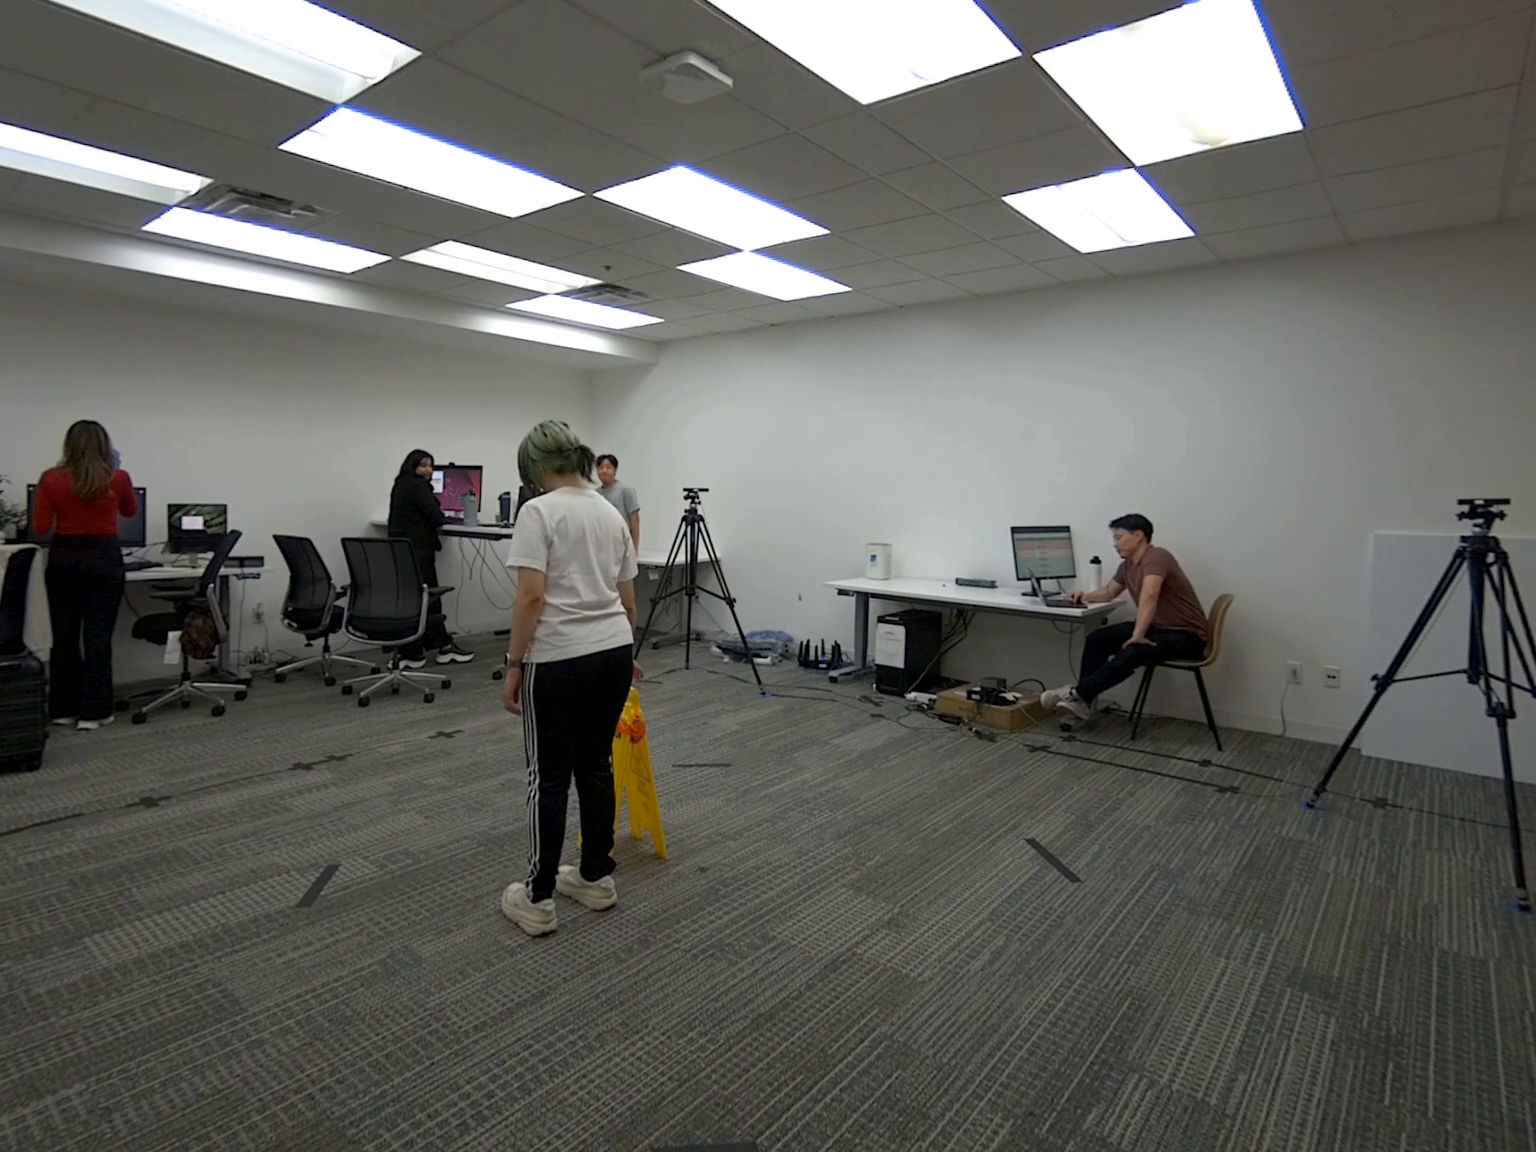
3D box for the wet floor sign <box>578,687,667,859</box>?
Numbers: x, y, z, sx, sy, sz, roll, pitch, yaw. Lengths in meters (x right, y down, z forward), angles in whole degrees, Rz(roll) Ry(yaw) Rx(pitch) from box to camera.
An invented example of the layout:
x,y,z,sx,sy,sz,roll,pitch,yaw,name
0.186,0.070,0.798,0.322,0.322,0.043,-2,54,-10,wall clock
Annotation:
x,y,z,sx,sy,sz,roll,pitch,yaw,name
-0.565,0.721,3.224,0.281,0.645,0.291,0,1,-33,wet floor sign
